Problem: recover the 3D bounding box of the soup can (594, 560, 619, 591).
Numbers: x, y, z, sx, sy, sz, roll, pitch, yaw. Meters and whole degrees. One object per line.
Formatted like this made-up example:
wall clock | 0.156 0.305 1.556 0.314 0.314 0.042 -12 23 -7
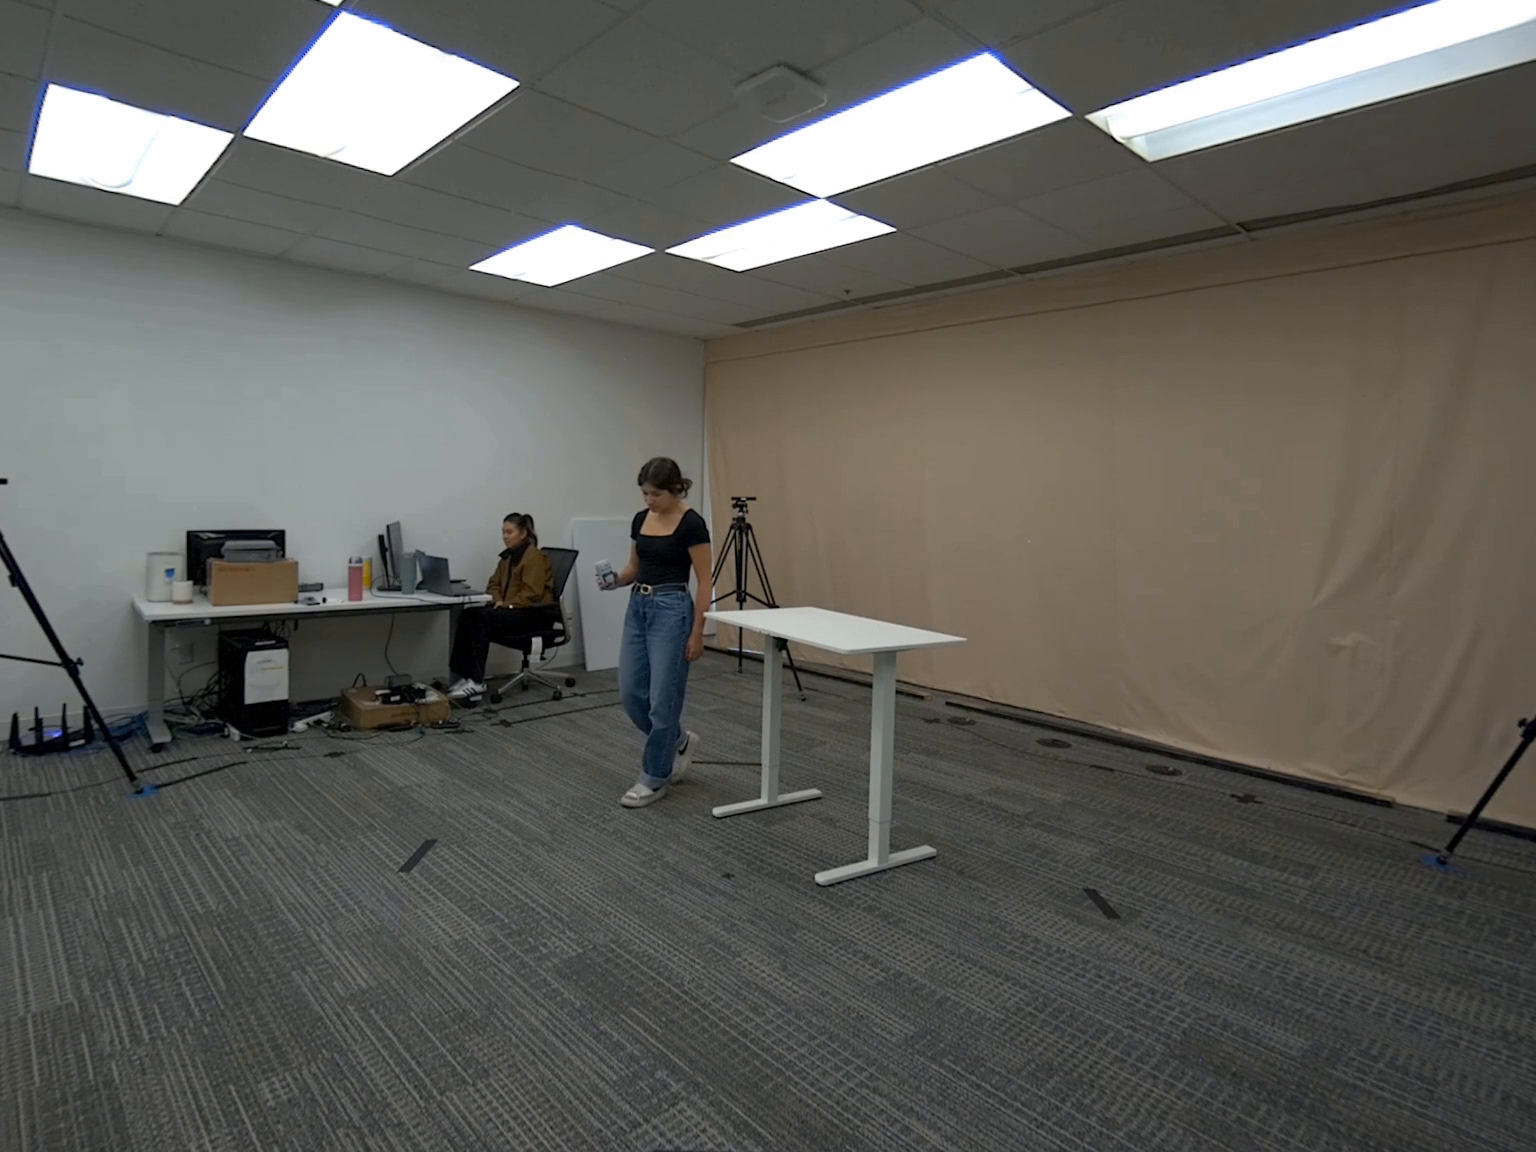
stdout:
soup can | -0.741 -0.009 3.782 0.067 0.121 0.067 -16 2 -1
